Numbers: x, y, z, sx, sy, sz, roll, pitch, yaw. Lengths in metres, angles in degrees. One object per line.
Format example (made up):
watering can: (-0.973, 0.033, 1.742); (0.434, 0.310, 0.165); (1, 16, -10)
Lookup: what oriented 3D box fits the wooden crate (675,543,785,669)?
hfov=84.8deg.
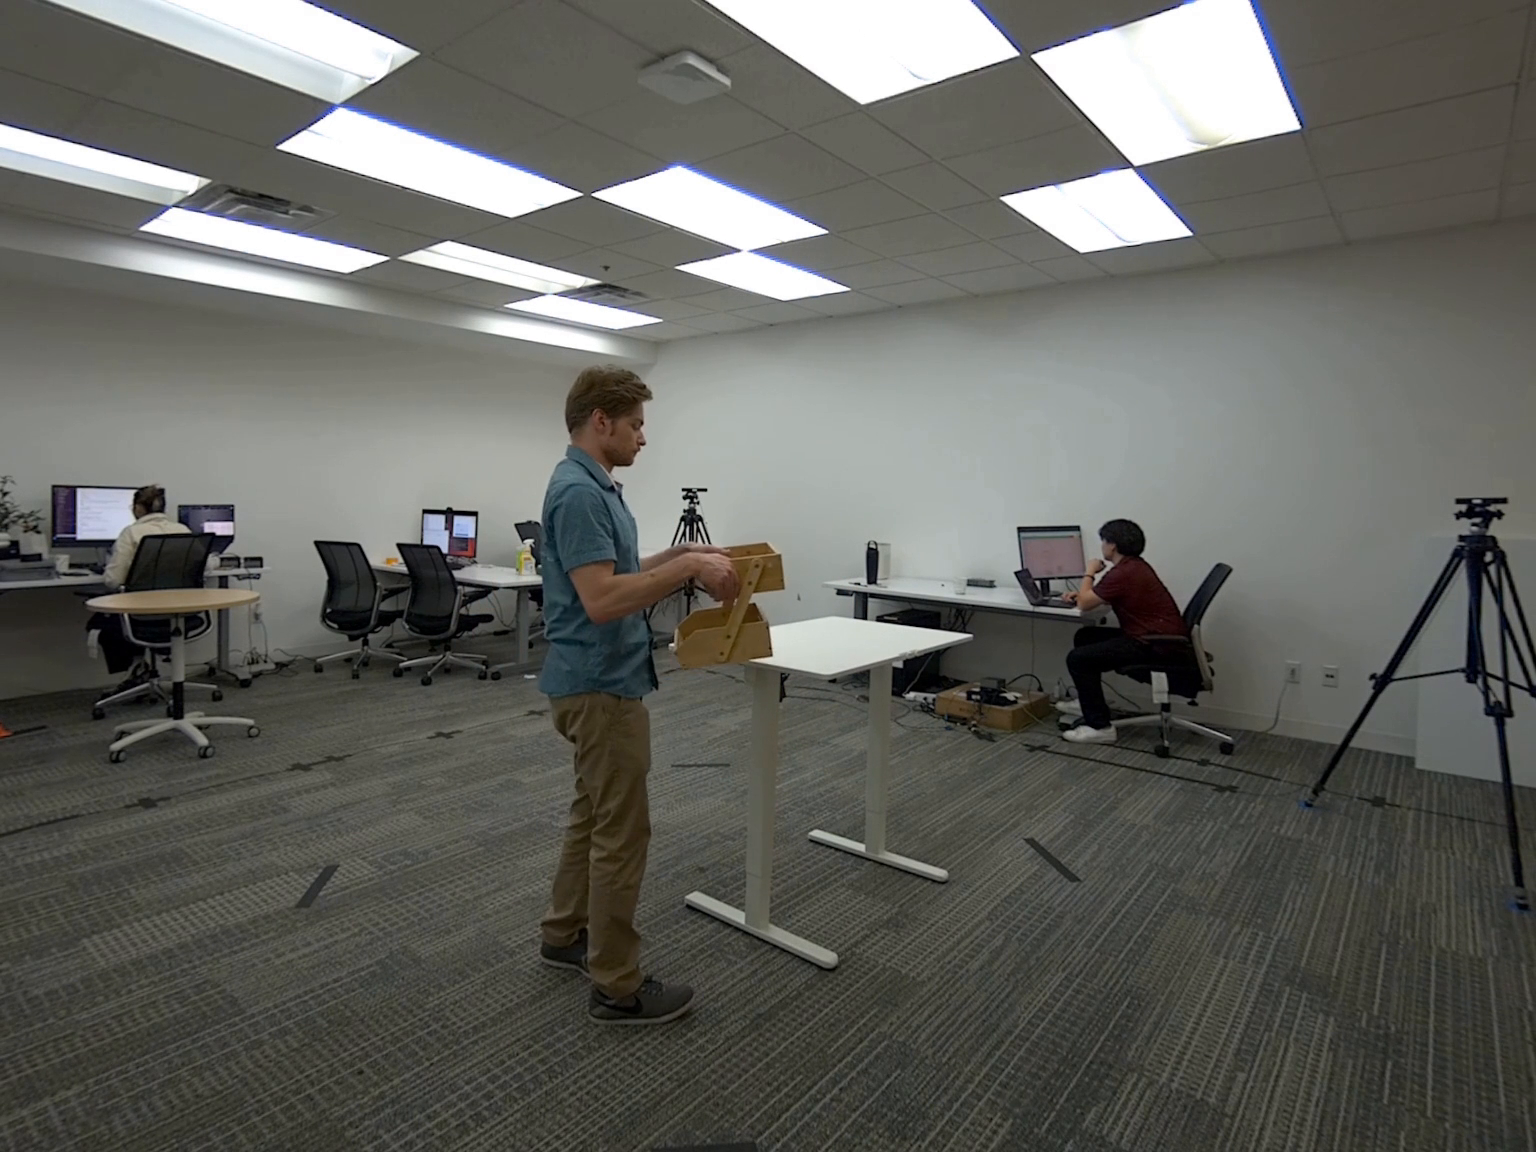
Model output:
wooden crate: (-0.135, 0.068, 2.282); (0.302, 0.271, 0.327); (-7, 7, -2)
